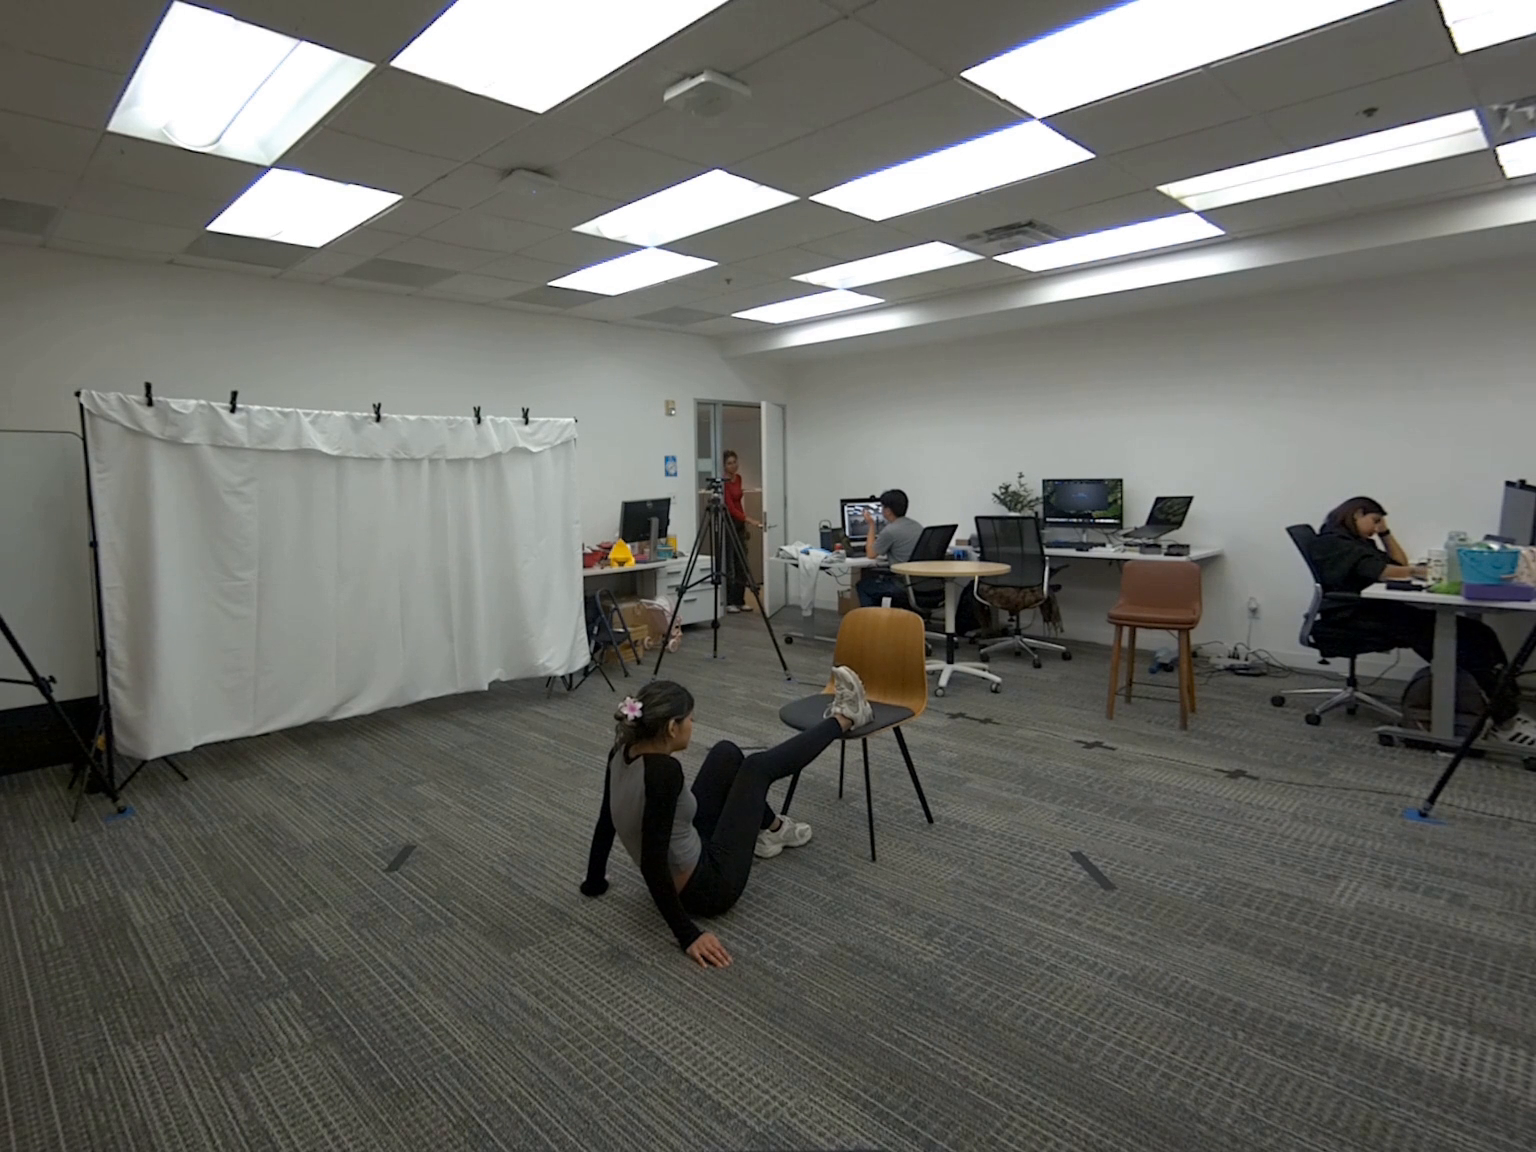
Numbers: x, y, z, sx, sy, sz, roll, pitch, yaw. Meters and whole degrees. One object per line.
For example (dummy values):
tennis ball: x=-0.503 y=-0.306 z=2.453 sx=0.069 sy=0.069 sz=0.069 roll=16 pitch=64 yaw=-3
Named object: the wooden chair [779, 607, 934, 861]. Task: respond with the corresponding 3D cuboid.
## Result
wooden chair: x=0.341 y=0.576 z=3.377 sx=0.492 sy=0.877 sz=0.508 roll=3 pitch=1 yaw=40
